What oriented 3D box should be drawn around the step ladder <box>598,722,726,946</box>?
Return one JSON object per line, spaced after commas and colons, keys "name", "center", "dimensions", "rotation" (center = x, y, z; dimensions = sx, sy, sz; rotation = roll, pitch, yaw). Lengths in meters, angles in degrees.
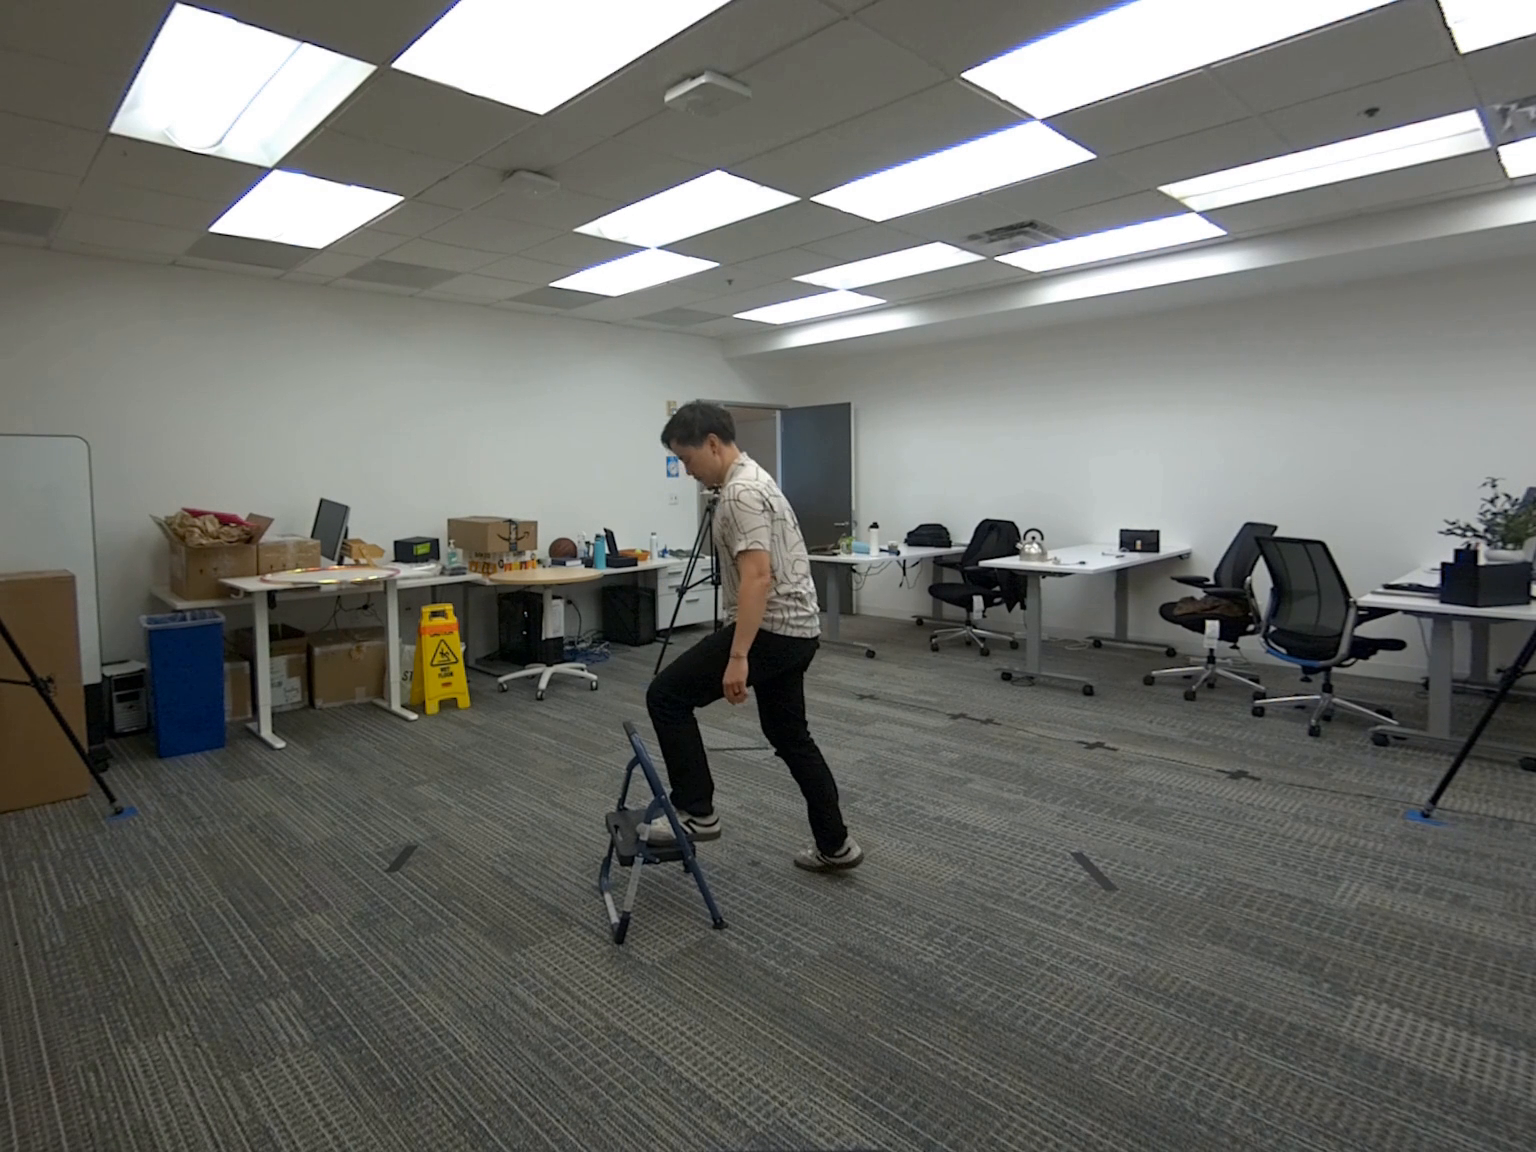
{"name": "step ladder", "center": [-0.365, 0.784, 2.796], "dimensions": [0.344, 0.603, 0.439], "rotation": [-3, 5, -18]}
